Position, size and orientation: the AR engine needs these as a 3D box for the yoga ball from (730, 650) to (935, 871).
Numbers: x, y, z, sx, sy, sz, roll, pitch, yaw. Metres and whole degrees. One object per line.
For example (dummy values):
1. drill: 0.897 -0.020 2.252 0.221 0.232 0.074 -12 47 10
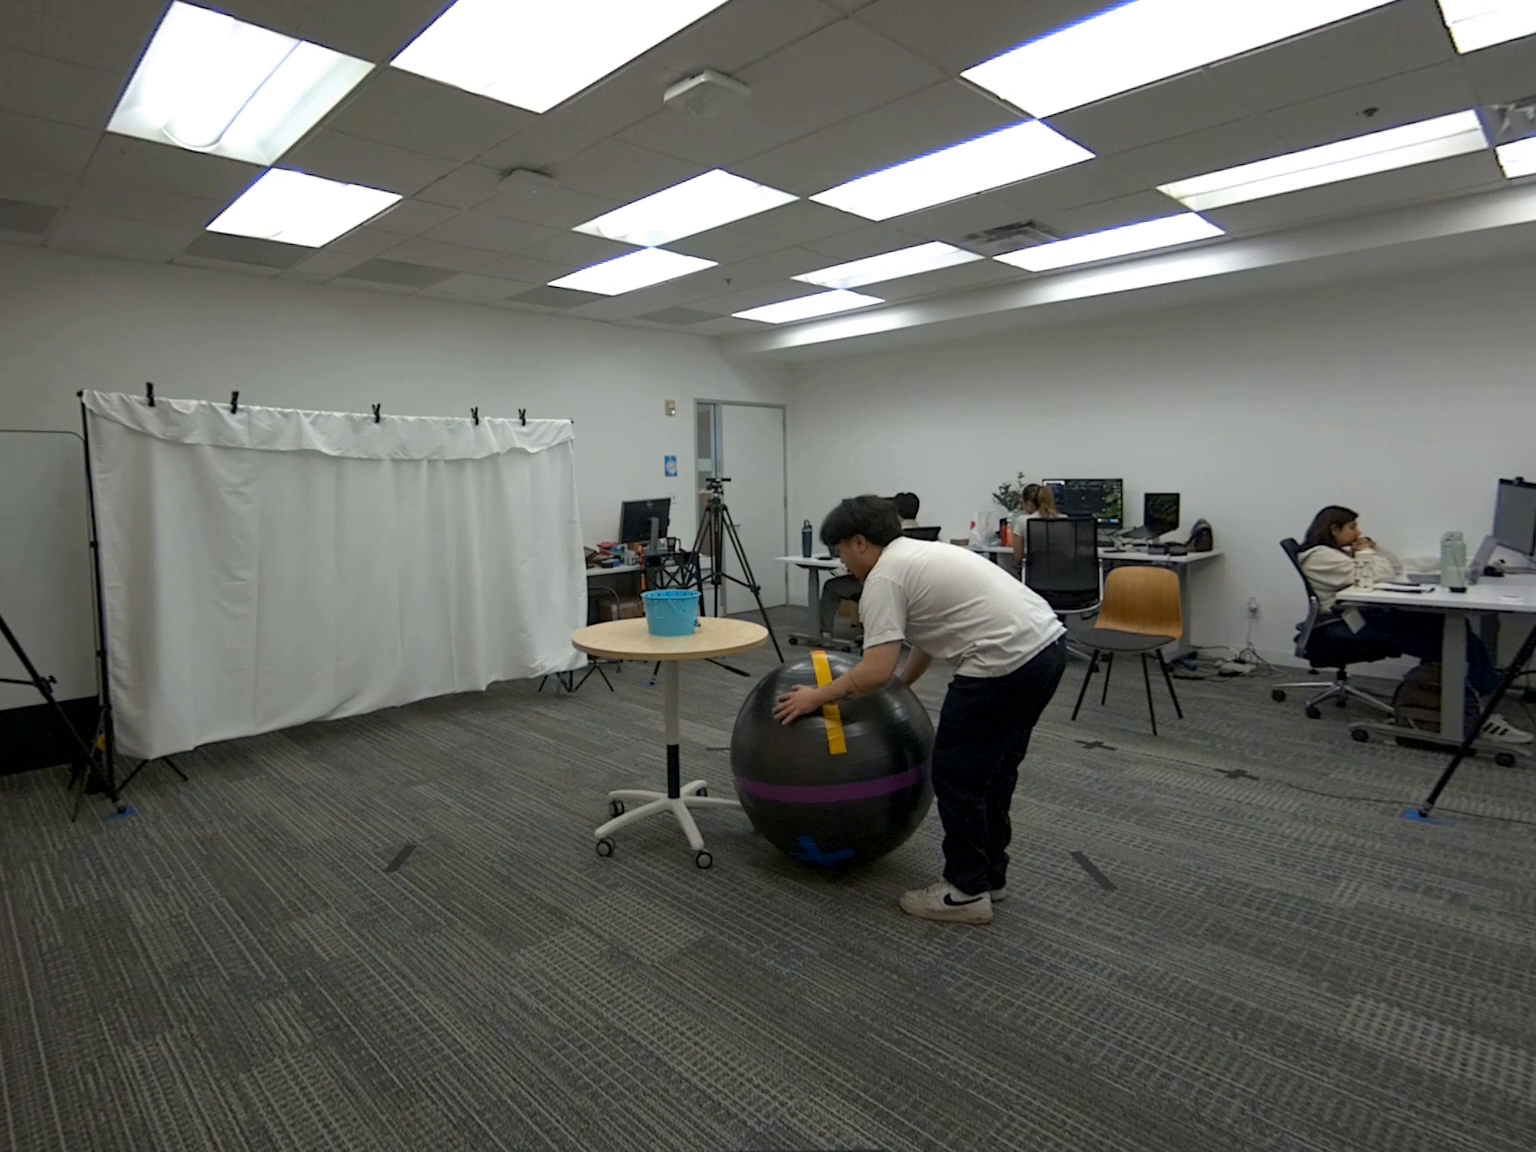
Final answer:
1. yoga ball: 0.239 0.670 3.129 0.757 0.755 0.762 -1 5 -2
